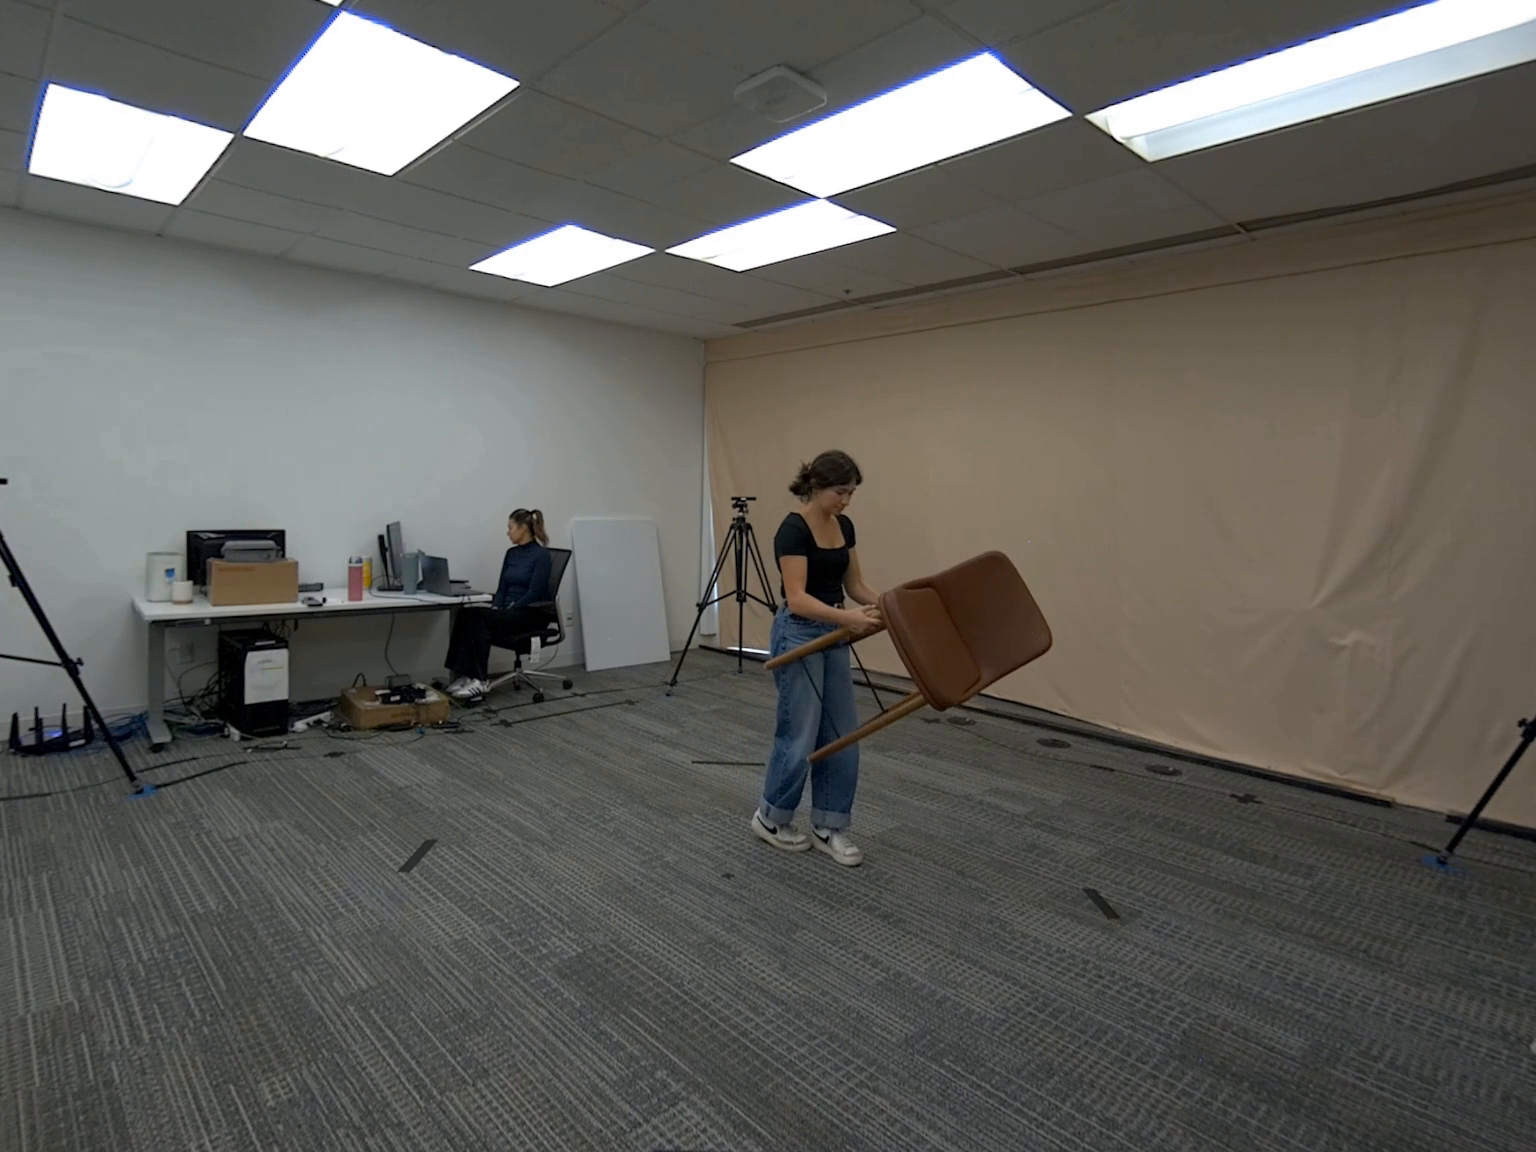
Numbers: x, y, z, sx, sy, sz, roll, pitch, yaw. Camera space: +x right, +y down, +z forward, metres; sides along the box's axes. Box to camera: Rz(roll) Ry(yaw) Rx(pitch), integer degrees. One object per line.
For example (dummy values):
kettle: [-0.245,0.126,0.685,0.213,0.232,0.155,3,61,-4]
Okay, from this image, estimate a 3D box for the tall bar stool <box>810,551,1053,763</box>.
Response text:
tall bar stool: [0.500,0.302,3.077,0.896,0.463,0.458,-32,-15,32]
